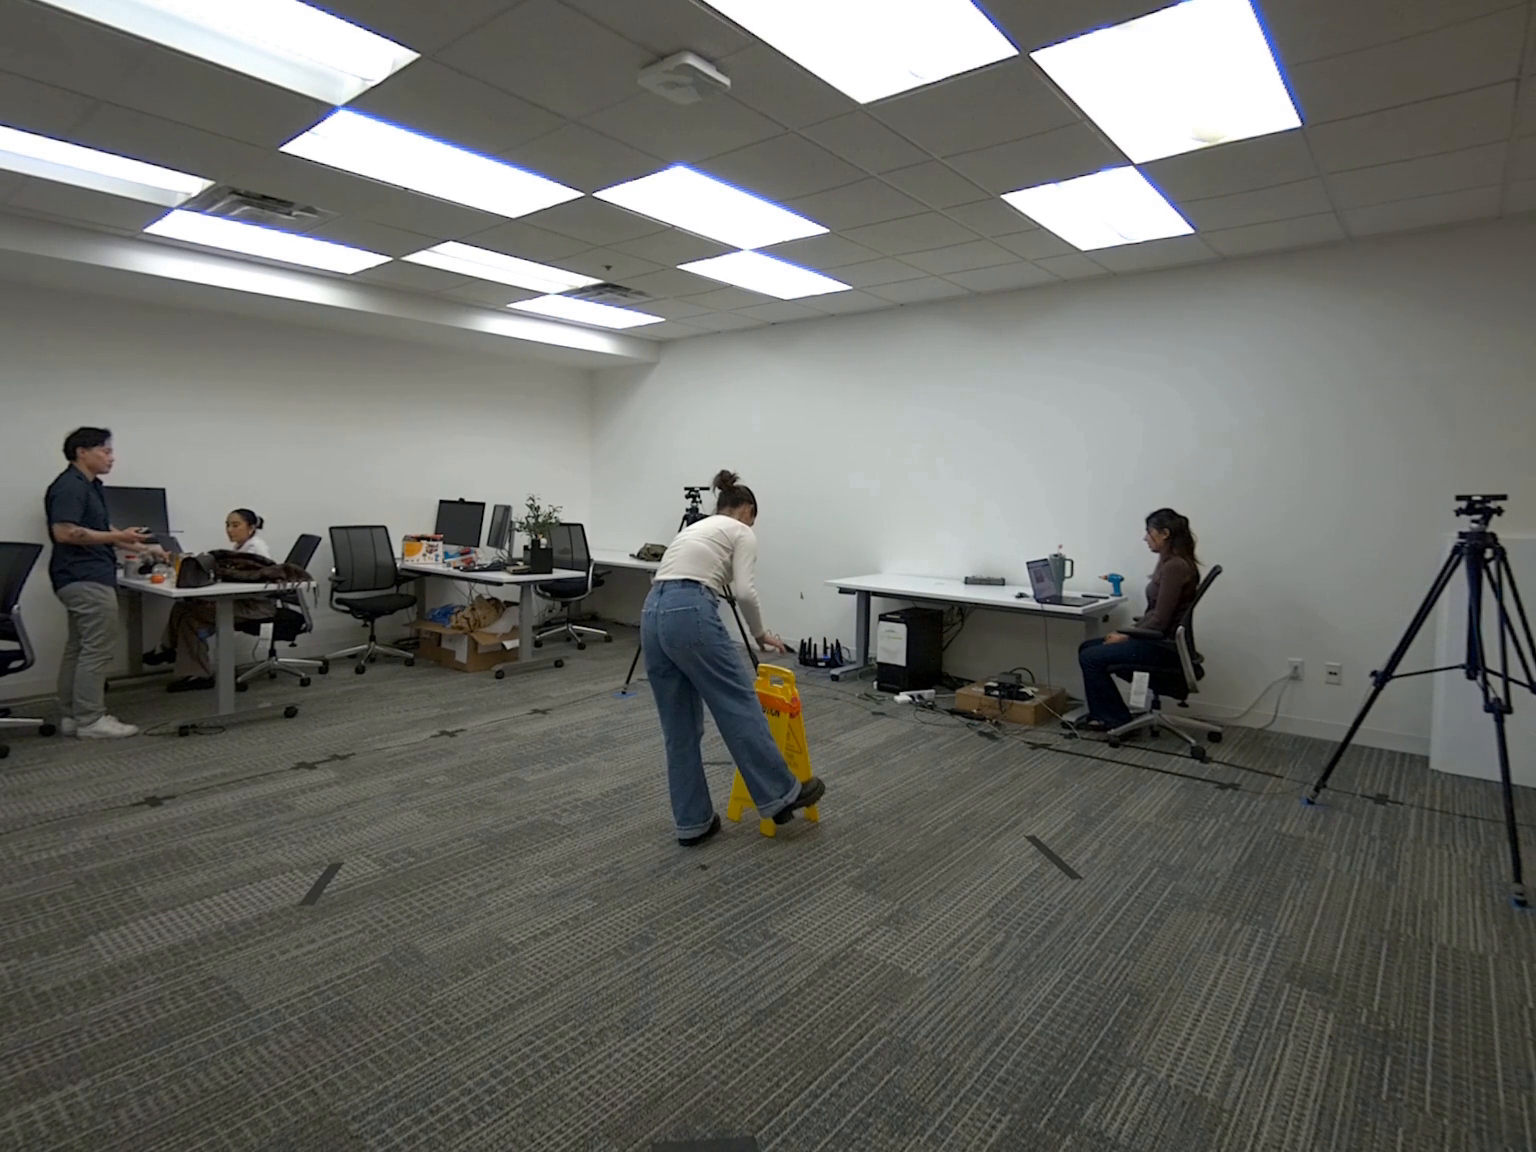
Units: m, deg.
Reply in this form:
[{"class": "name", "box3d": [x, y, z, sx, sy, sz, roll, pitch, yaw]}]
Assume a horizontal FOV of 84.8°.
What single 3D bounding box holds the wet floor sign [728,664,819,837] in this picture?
[{"class": "wet floor sign", "box3d": [0.017, 0.701, 3.568, 0.281, 0.645, 0.292, -1, 3, -42]}]
